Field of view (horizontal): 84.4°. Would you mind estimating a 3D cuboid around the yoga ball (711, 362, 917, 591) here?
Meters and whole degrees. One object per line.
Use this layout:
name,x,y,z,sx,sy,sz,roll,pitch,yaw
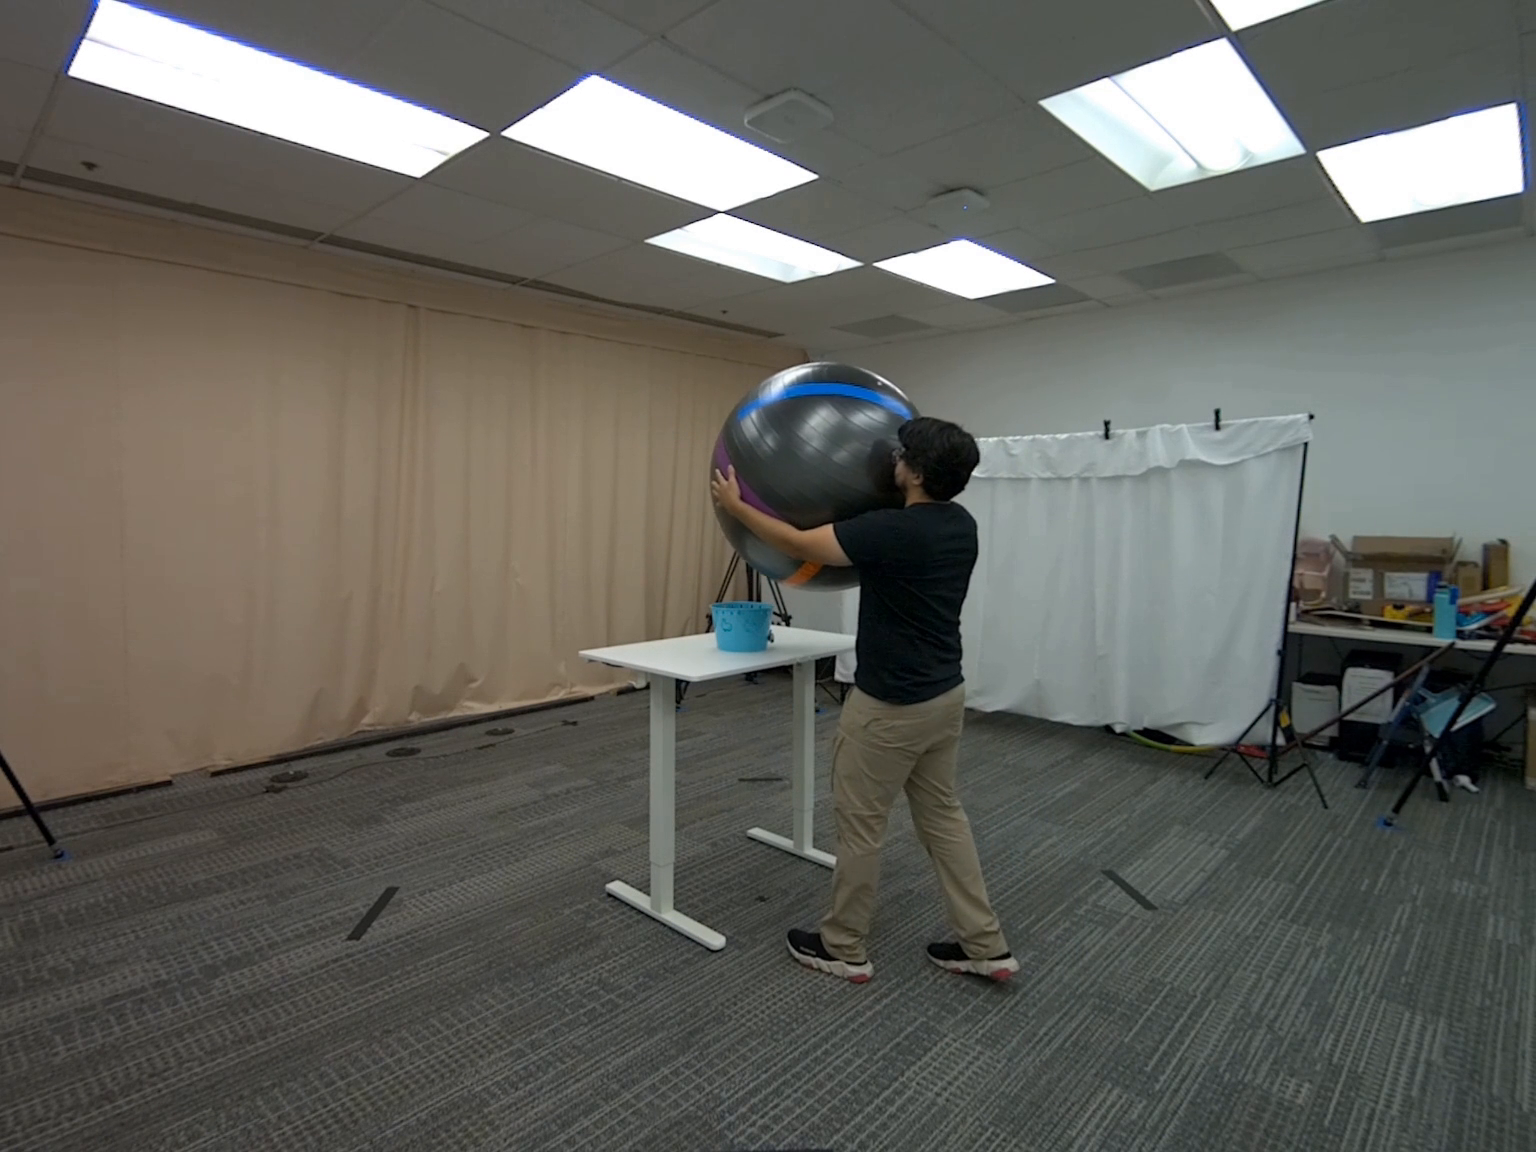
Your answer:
yoga ball,0.188,-0.323,2.823,0.757,0.756,0.760,0,4,-2
